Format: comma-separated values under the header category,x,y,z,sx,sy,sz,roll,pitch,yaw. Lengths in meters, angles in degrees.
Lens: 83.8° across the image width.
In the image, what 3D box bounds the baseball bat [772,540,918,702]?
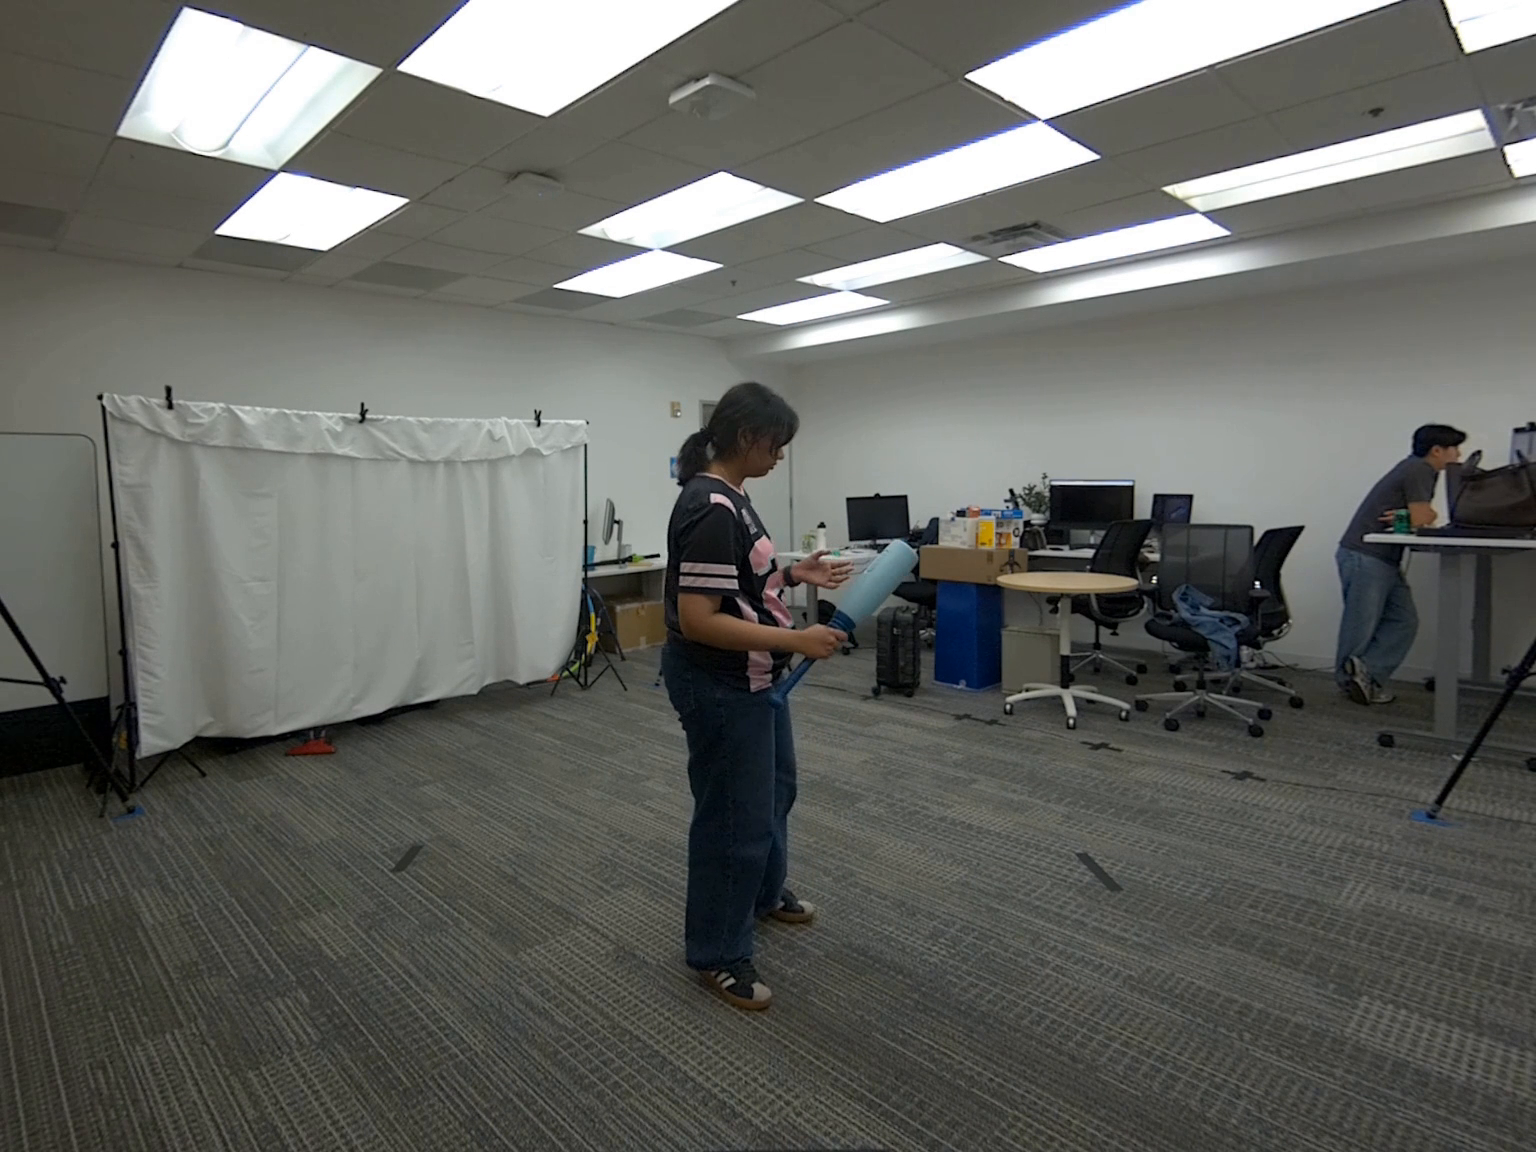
category,x,y,z,sx,sy,sz,roll,pitch,yaw
baseball bat,0.183,0.122,2.170,0.543,0.087,0.091,-48,20,-13
